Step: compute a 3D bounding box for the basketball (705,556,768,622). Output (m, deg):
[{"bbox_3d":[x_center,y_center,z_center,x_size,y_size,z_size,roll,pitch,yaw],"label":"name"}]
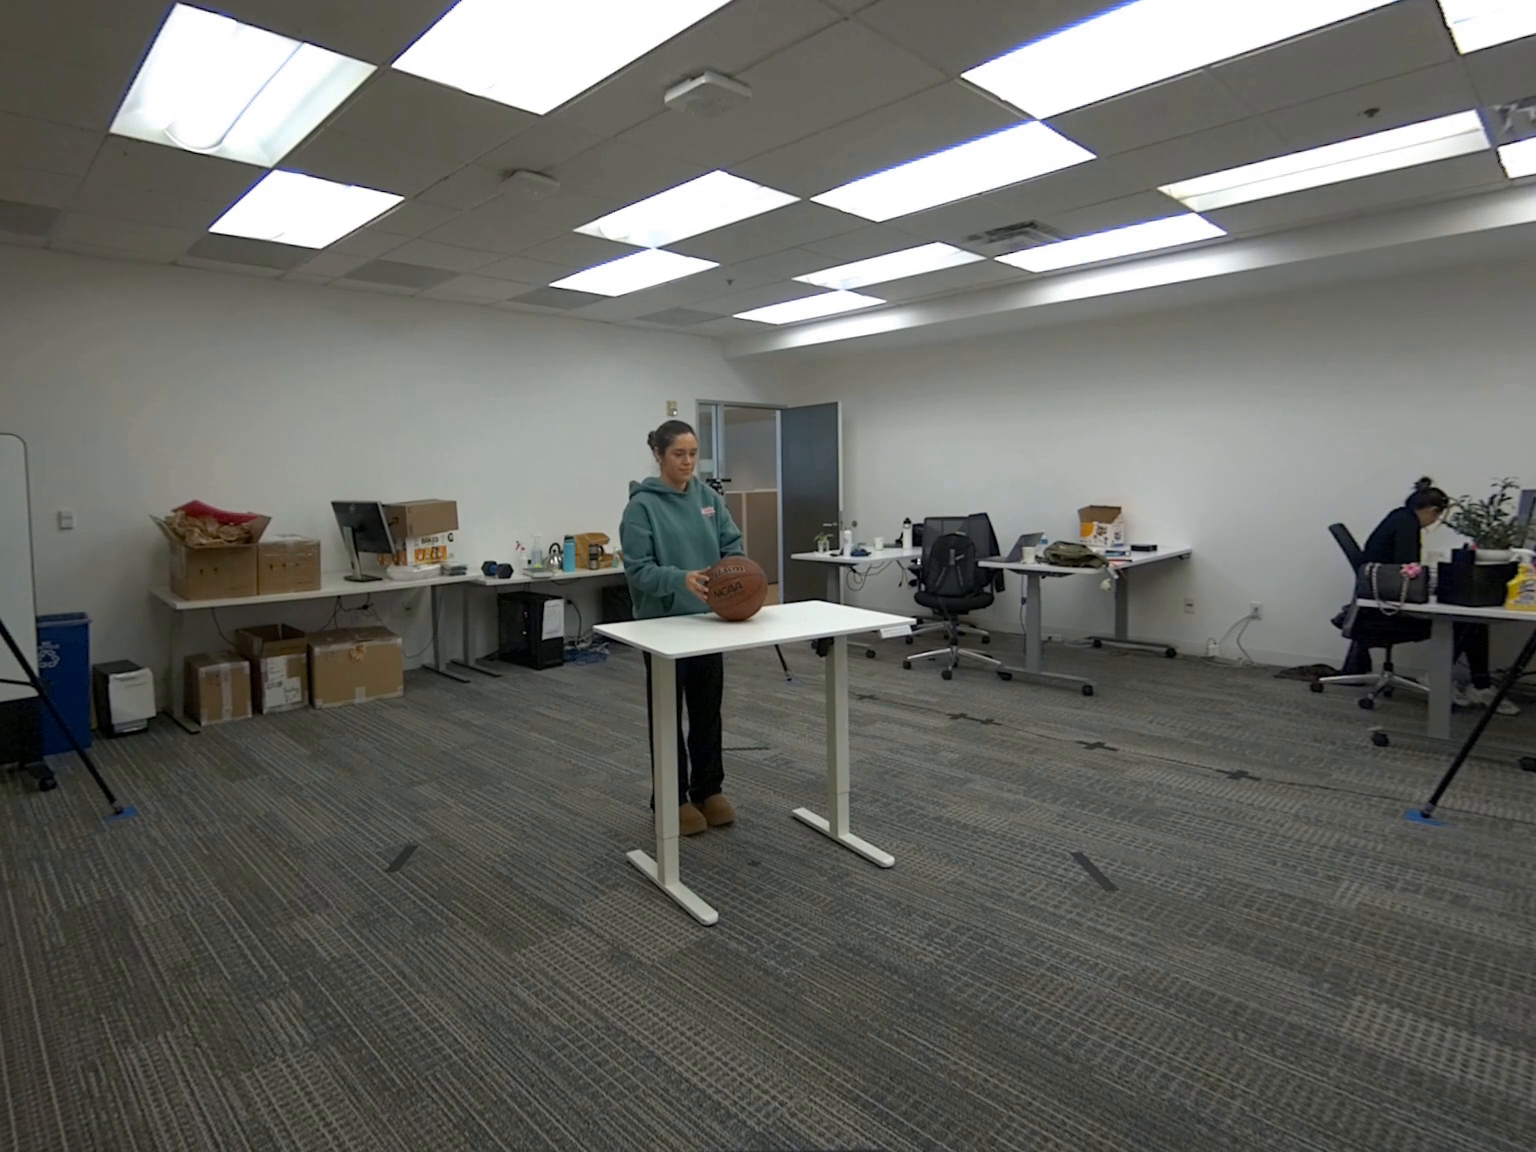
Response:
[{"bbox_3d":[-0.121,0.040,3.120,0.236,0.235,0.237,-1,5,-2],"label":"basketball"}]
